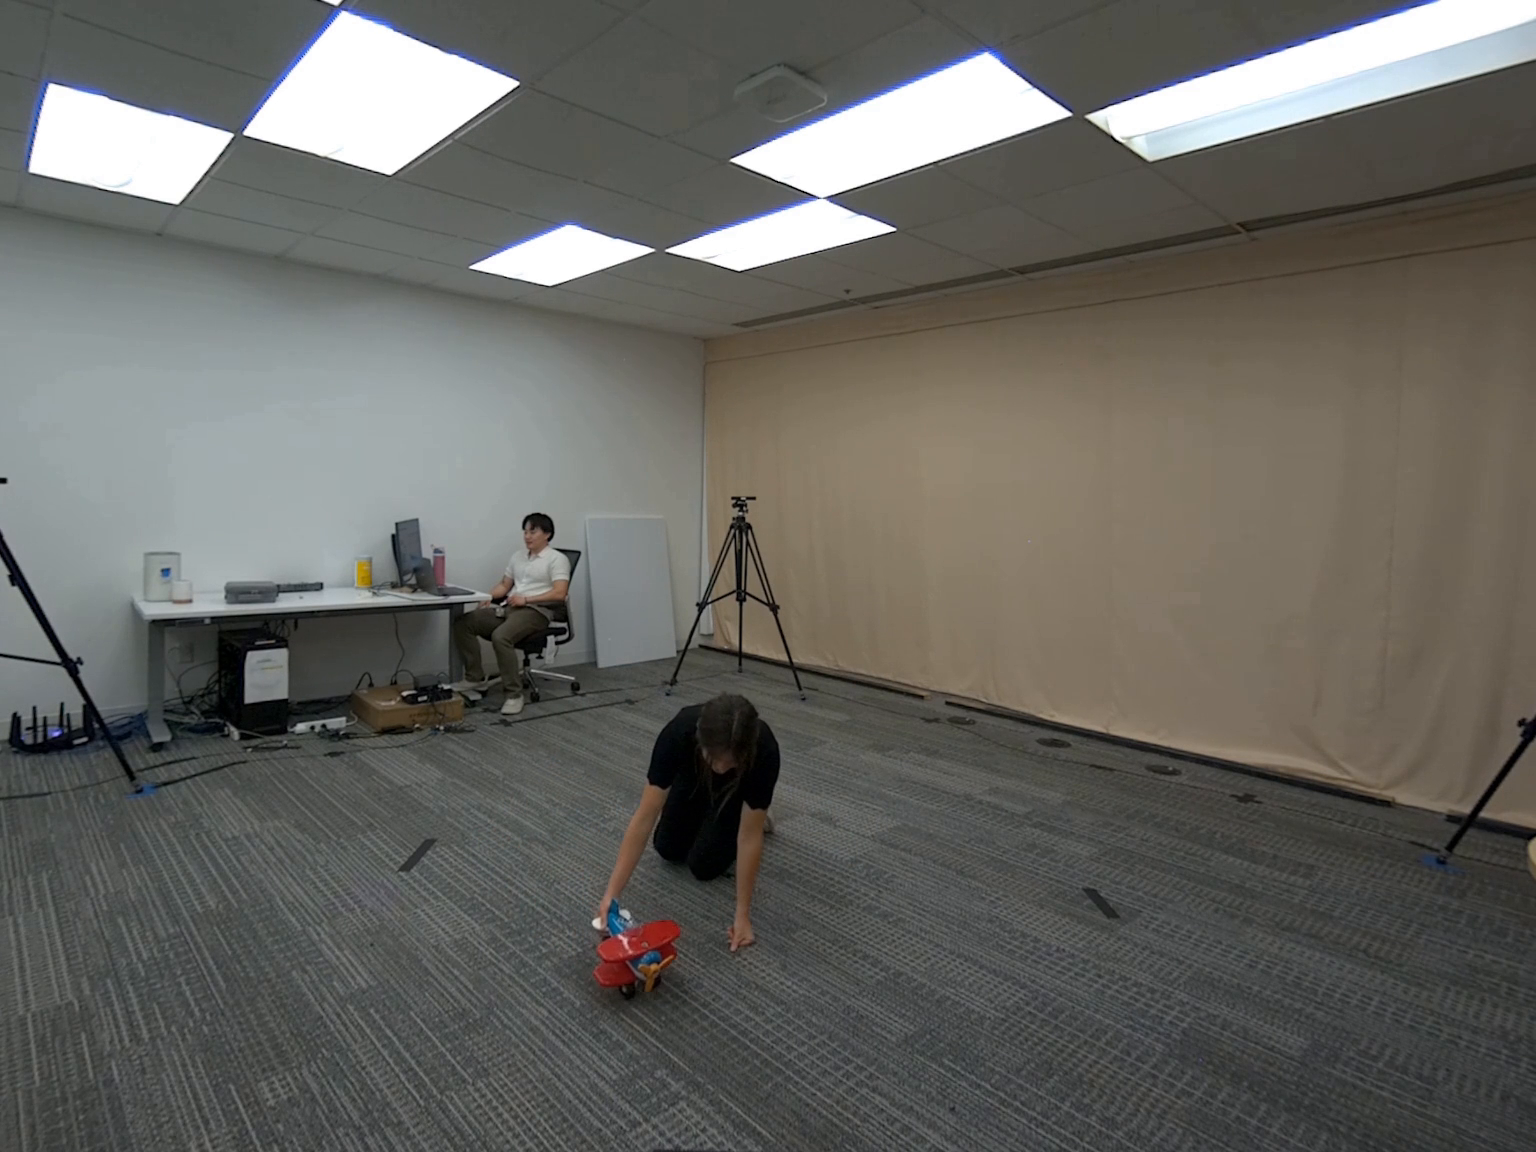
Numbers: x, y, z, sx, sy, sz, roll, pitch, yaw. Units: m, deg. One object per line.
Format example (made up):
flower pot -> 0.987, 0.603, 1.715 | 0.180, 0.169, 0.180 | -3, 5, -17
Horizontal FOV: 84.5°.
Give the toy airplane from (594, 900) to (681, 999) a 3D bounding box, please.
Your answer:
toy airplane -> -0.411, 1.063, 2.374 | 0.263, 0.155, 0.249 | 28, 27, 14
